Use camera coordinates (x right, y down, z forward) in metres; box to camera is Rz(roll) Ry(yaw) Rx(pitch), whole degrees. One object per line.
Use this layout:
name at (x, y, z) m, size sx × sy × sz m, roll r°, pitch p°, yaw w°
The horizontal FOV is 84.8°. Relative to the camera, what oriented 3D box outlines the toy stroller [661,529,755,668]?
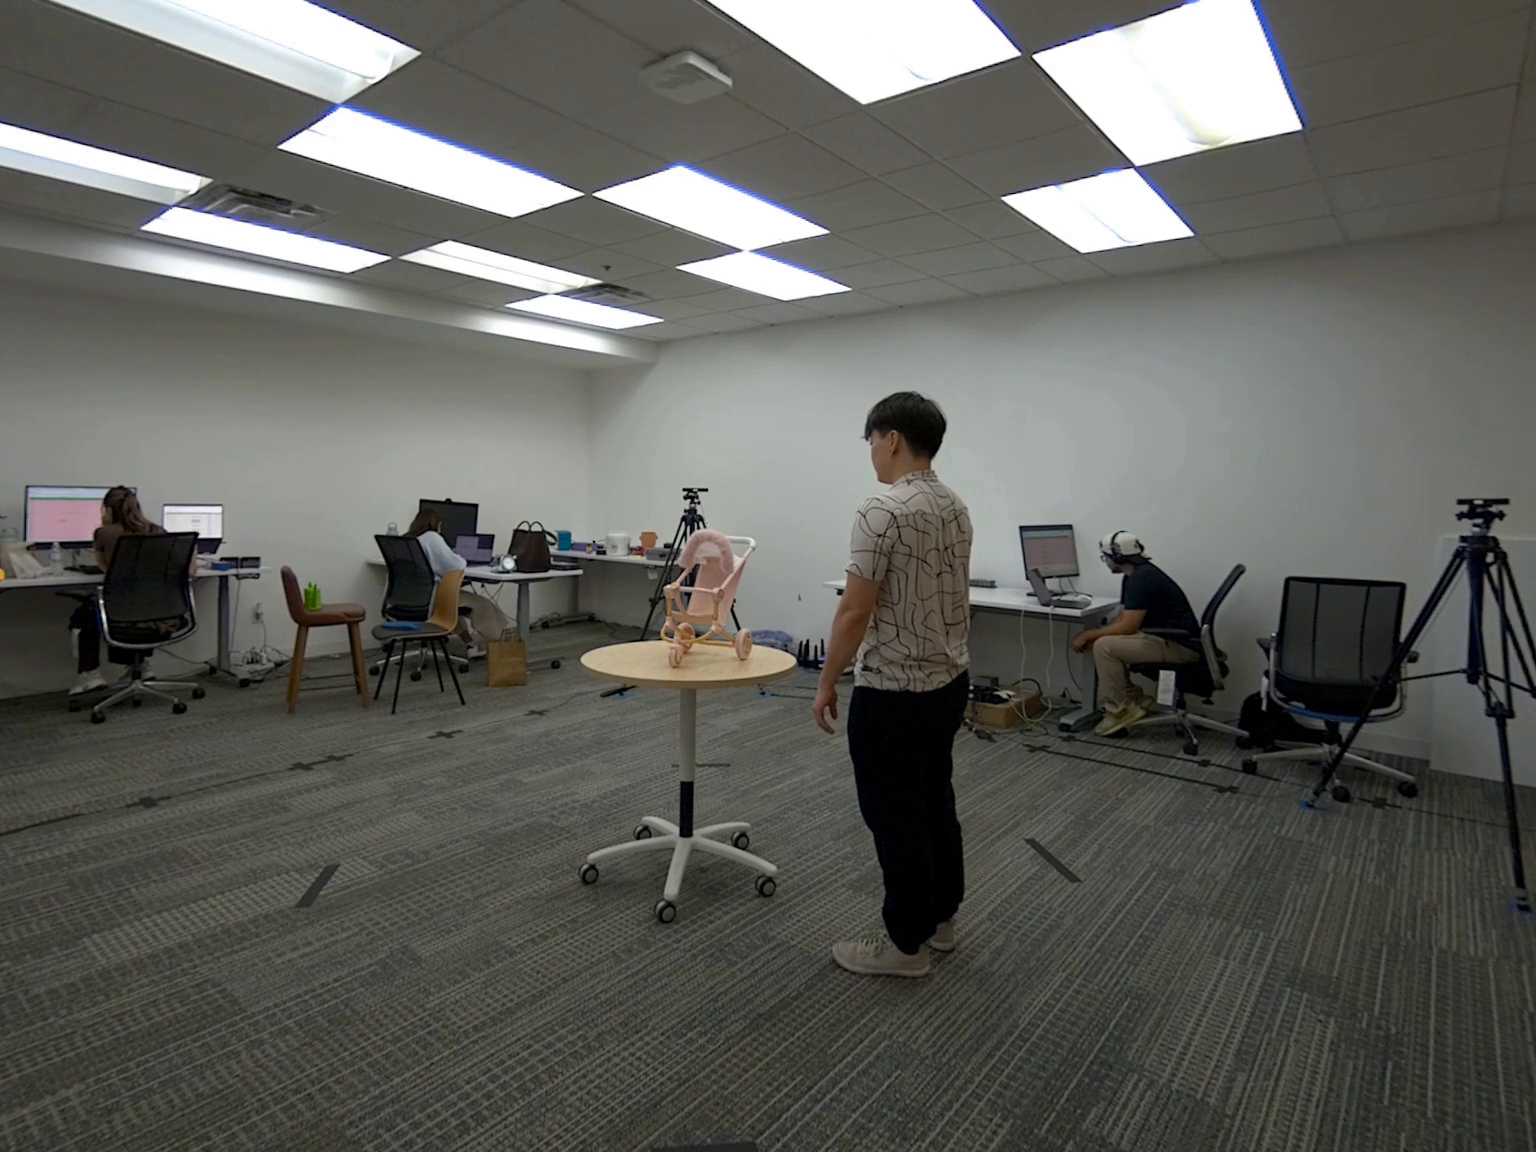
toy stroller at (-0.238, 0.068, 3.025) m, size 0.290 × 0.540 × 0.328 m, roll 2°, pitch -14°, yaw 31°
